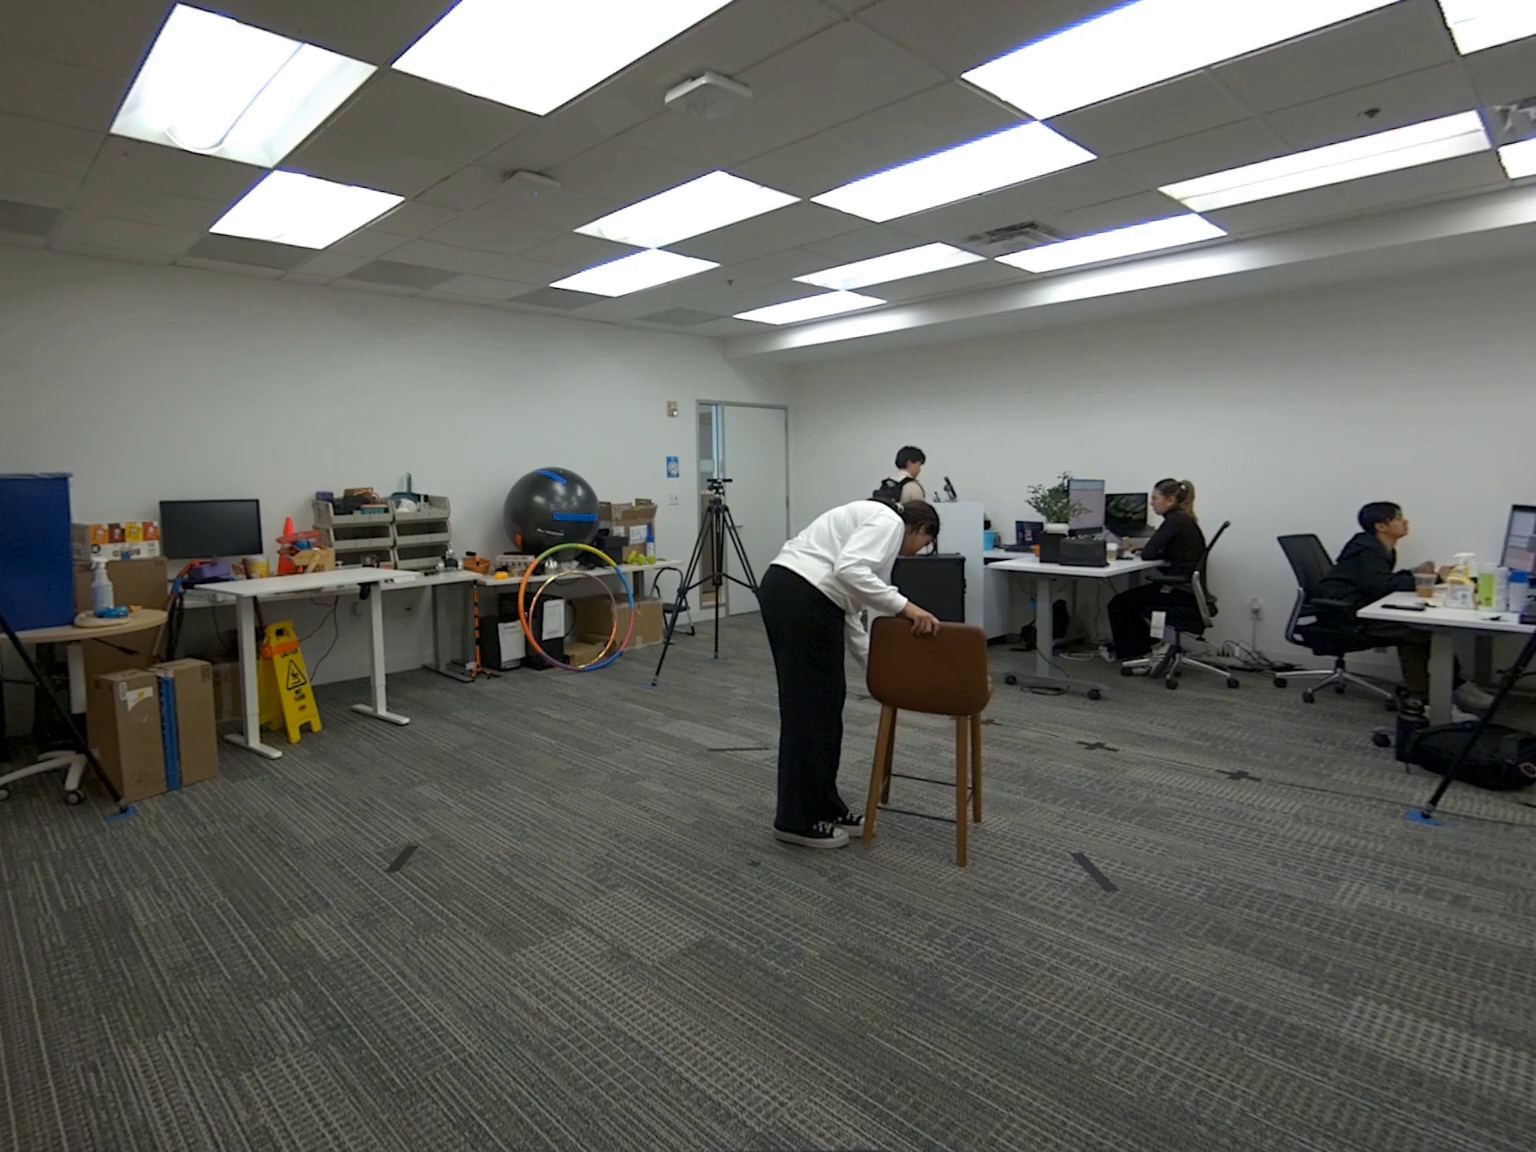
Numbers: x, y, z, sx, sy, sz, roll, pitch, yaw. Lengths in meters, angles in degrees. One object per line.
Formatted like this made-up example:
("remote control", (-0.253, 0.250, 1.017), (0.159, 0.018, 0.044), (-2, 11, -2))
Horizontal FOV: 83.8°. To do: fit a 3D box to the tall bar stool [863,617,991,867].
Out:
("tall bar stool", (0.615, 0.567, 3.284), (0.466, 0.884, 0.461), (4, 7, 20))
